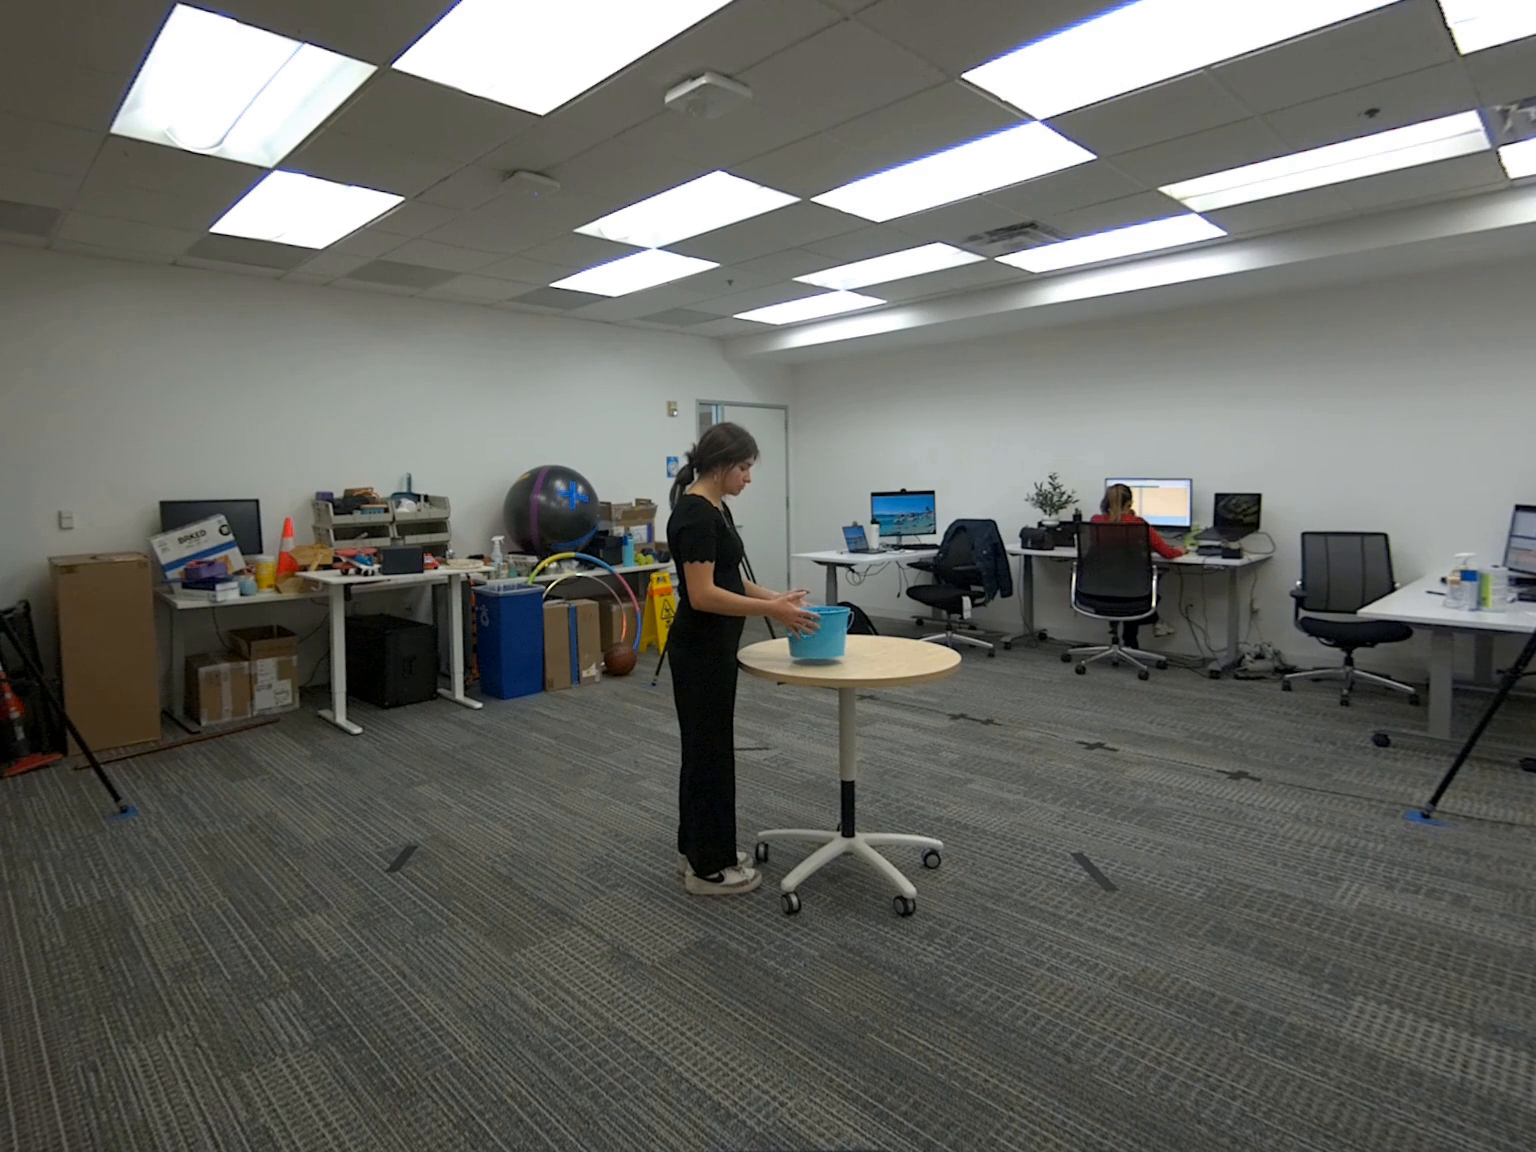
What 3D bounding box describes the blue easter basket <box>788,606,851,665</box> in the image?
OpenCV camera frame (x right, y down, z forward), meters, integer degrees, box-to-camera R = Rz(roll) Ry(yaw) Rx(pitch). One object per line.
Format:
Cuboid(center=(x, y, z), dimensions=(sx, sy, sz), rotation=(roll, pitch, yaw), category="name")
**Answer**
Cuboid(center=(0.170, 0.185, 2.870), dimensions=(0.243, 0.155, 0.245), rotation=(-1, 5, -2), category="blue easter basket")
